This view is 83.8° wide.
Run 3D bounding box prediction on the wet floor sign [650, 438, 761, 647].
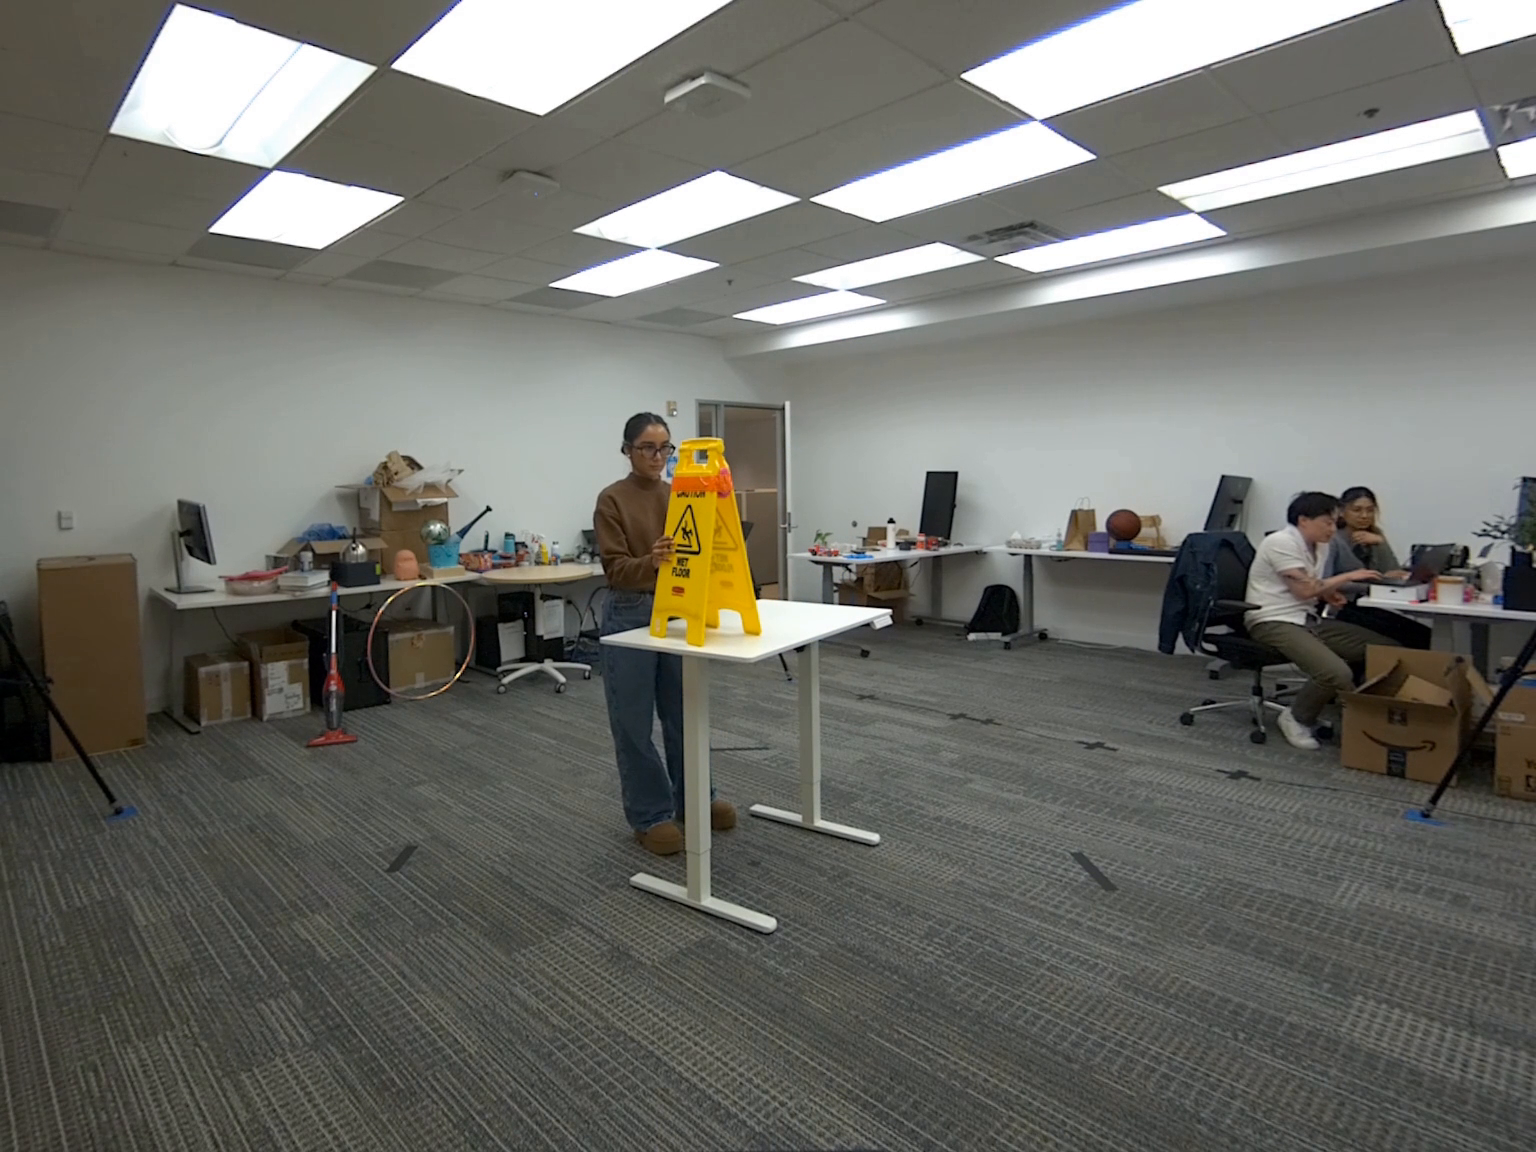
[{"bbox_3d":[-0.209,-0.124,2.813,0.282,0.644,0.291,-4,5,-42],"label":"wet floor sign"}]
